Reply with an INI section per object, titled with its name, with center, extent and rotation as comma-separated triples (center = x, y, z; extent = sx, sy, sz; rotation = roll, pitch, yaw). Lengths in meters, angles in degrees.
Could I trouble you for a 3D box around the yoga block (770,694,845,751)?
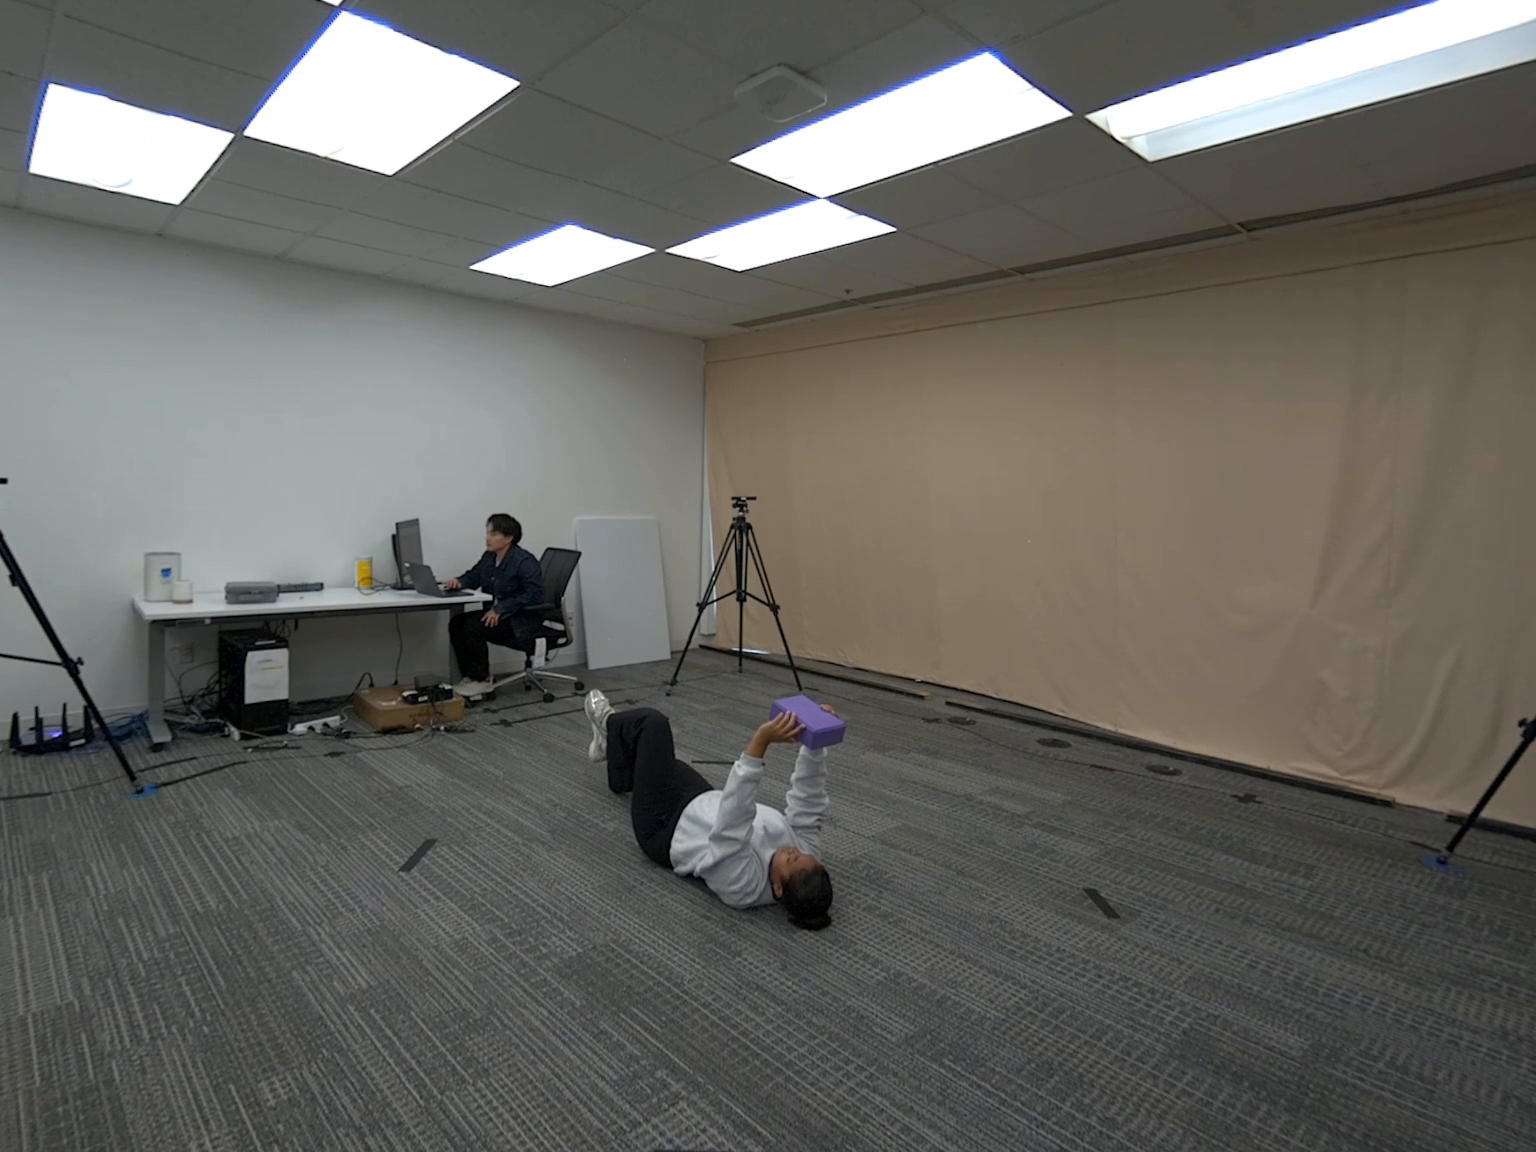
[yoga block]
center = 0.130, 0.495, 2.837
extent = 0.146, 0.076, 0.236
rotation = -6, 22, -40
